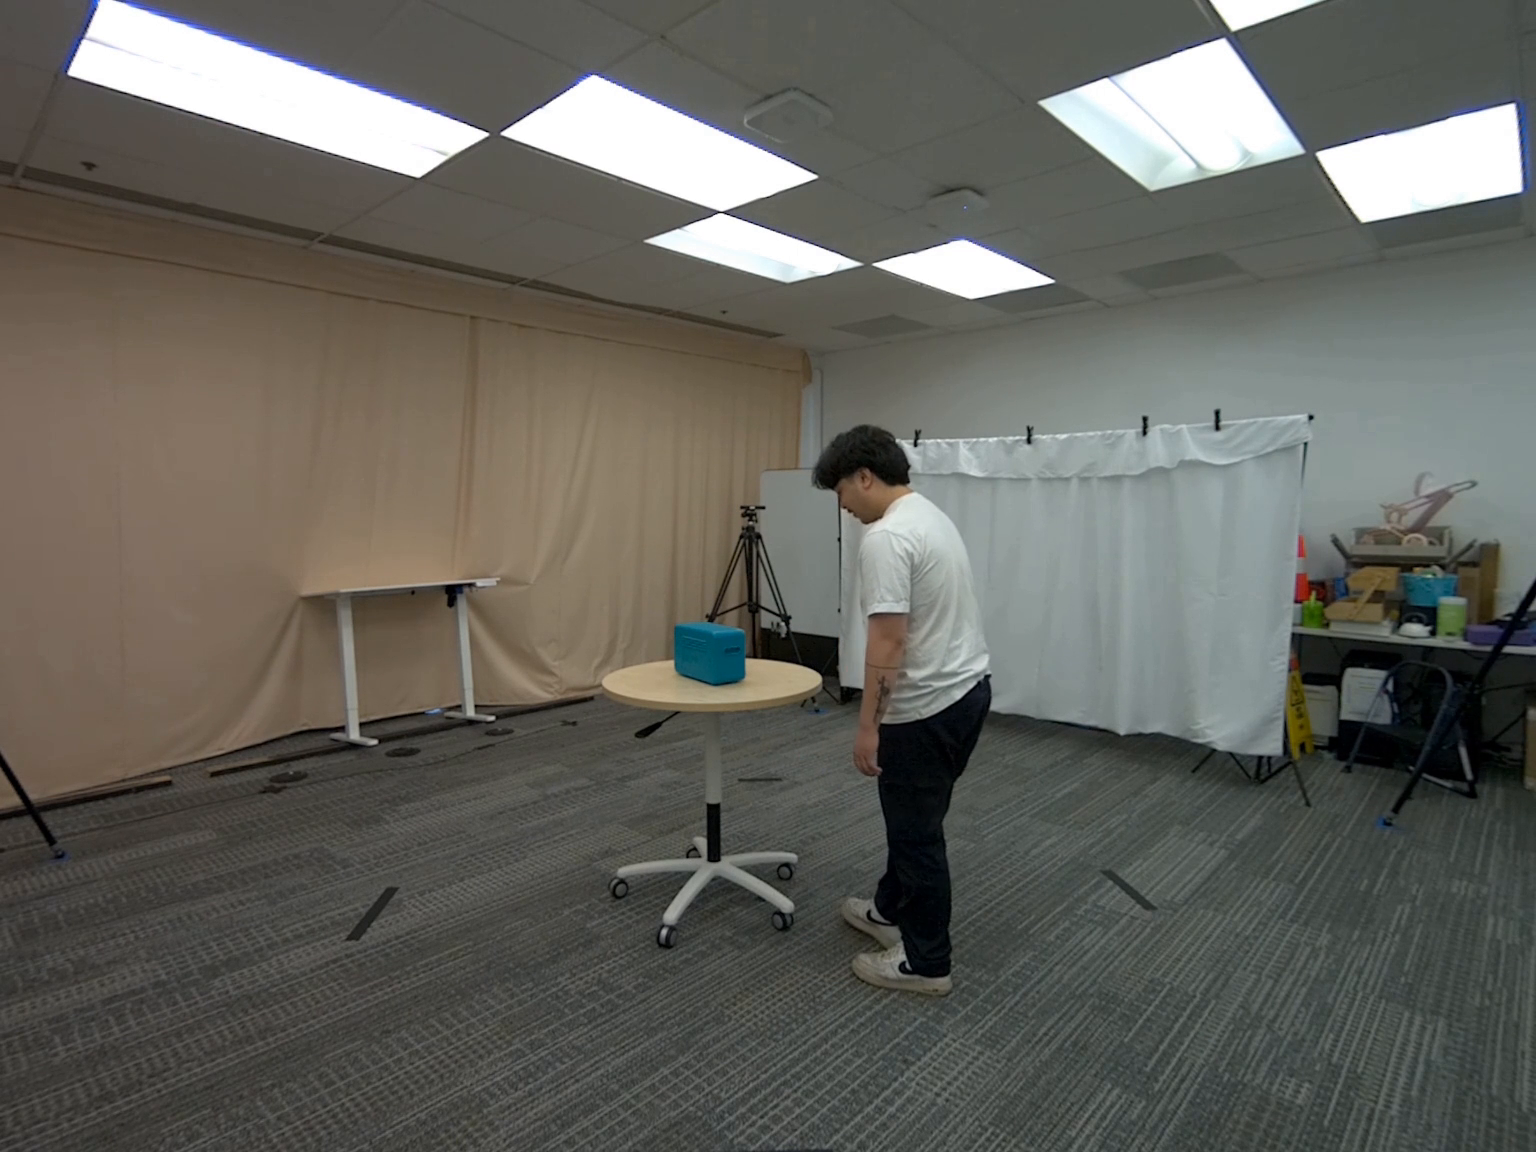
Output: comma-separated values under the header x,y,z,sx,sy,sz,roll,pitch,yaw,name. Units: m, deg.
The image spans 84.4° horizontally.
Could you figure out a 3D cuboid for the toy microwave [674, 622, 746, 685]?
x,y,z,sx,sy,sz,roll,pitch,yaw,name
-0.197,0.264,2.941,0.148,0.184,0.295,-3,4,-34,toy microwave
